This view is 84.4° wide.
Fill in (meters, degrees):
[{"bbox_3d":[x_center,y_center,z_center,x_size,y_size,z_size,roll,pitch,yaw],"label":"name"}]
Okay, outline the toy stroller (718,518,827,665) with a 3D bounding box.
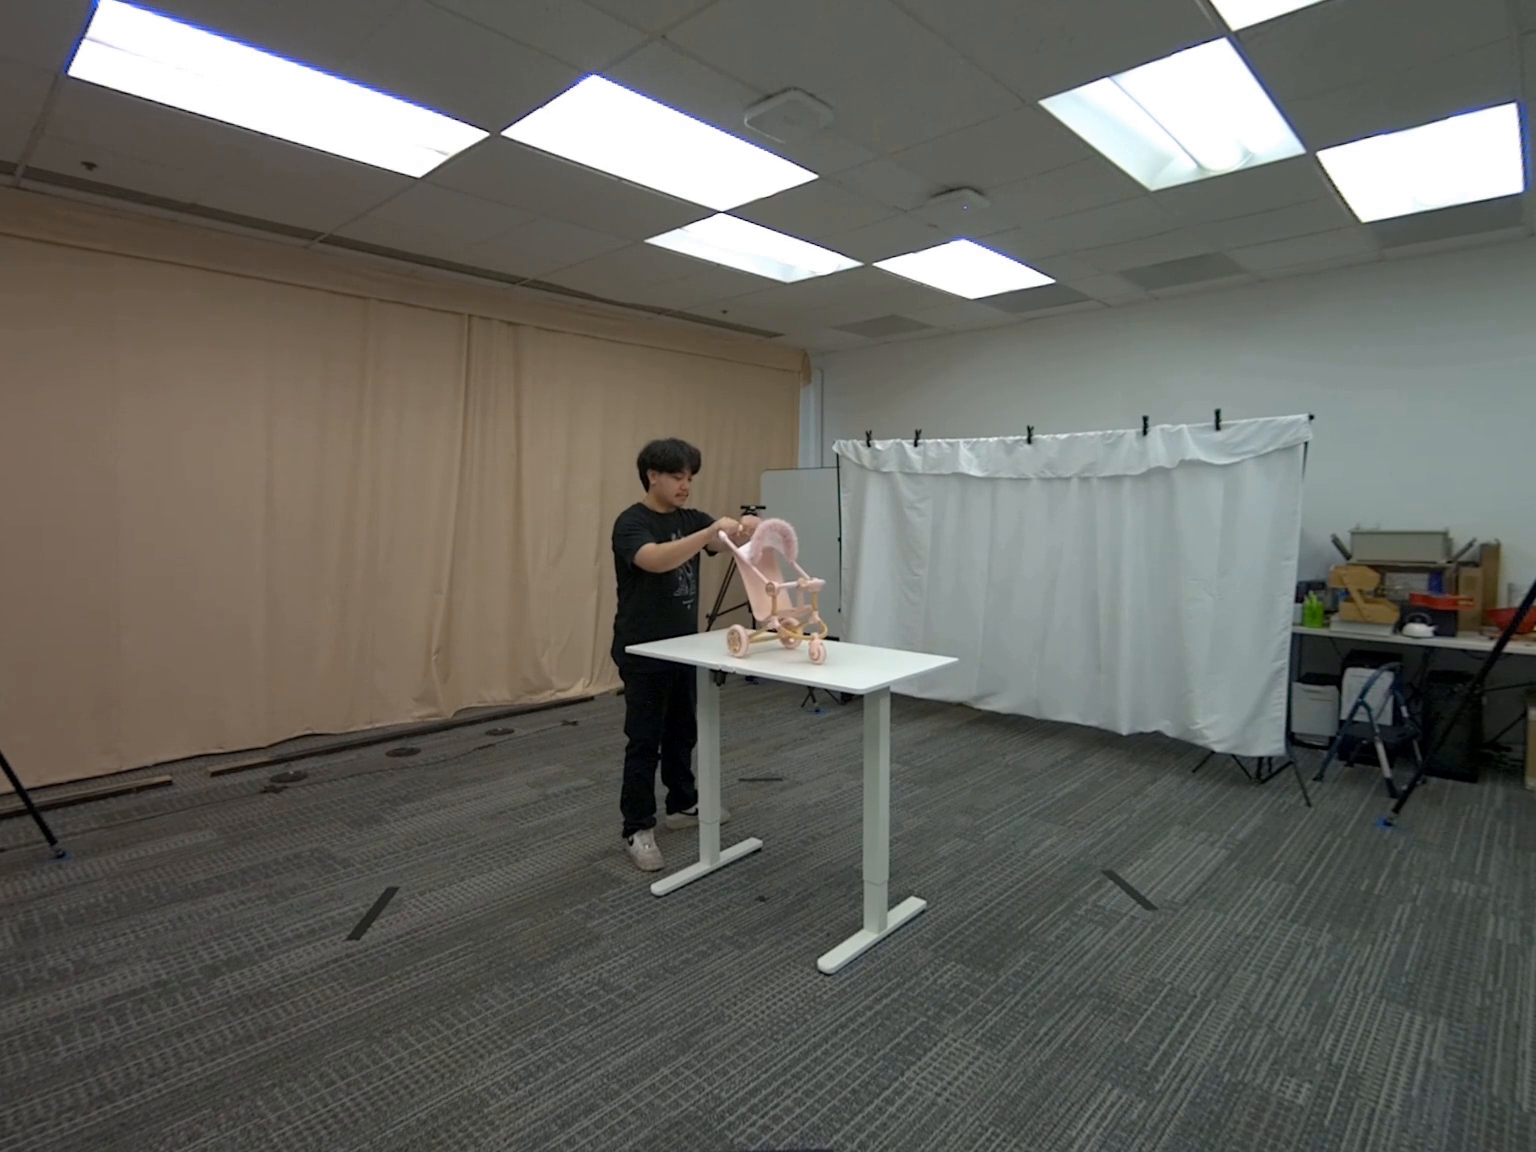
[{"bbox_3d":[0.033,0.048,2.852,0.273,0.538,0.349,-3,-10,-36],"label":"toy stroller"}]
